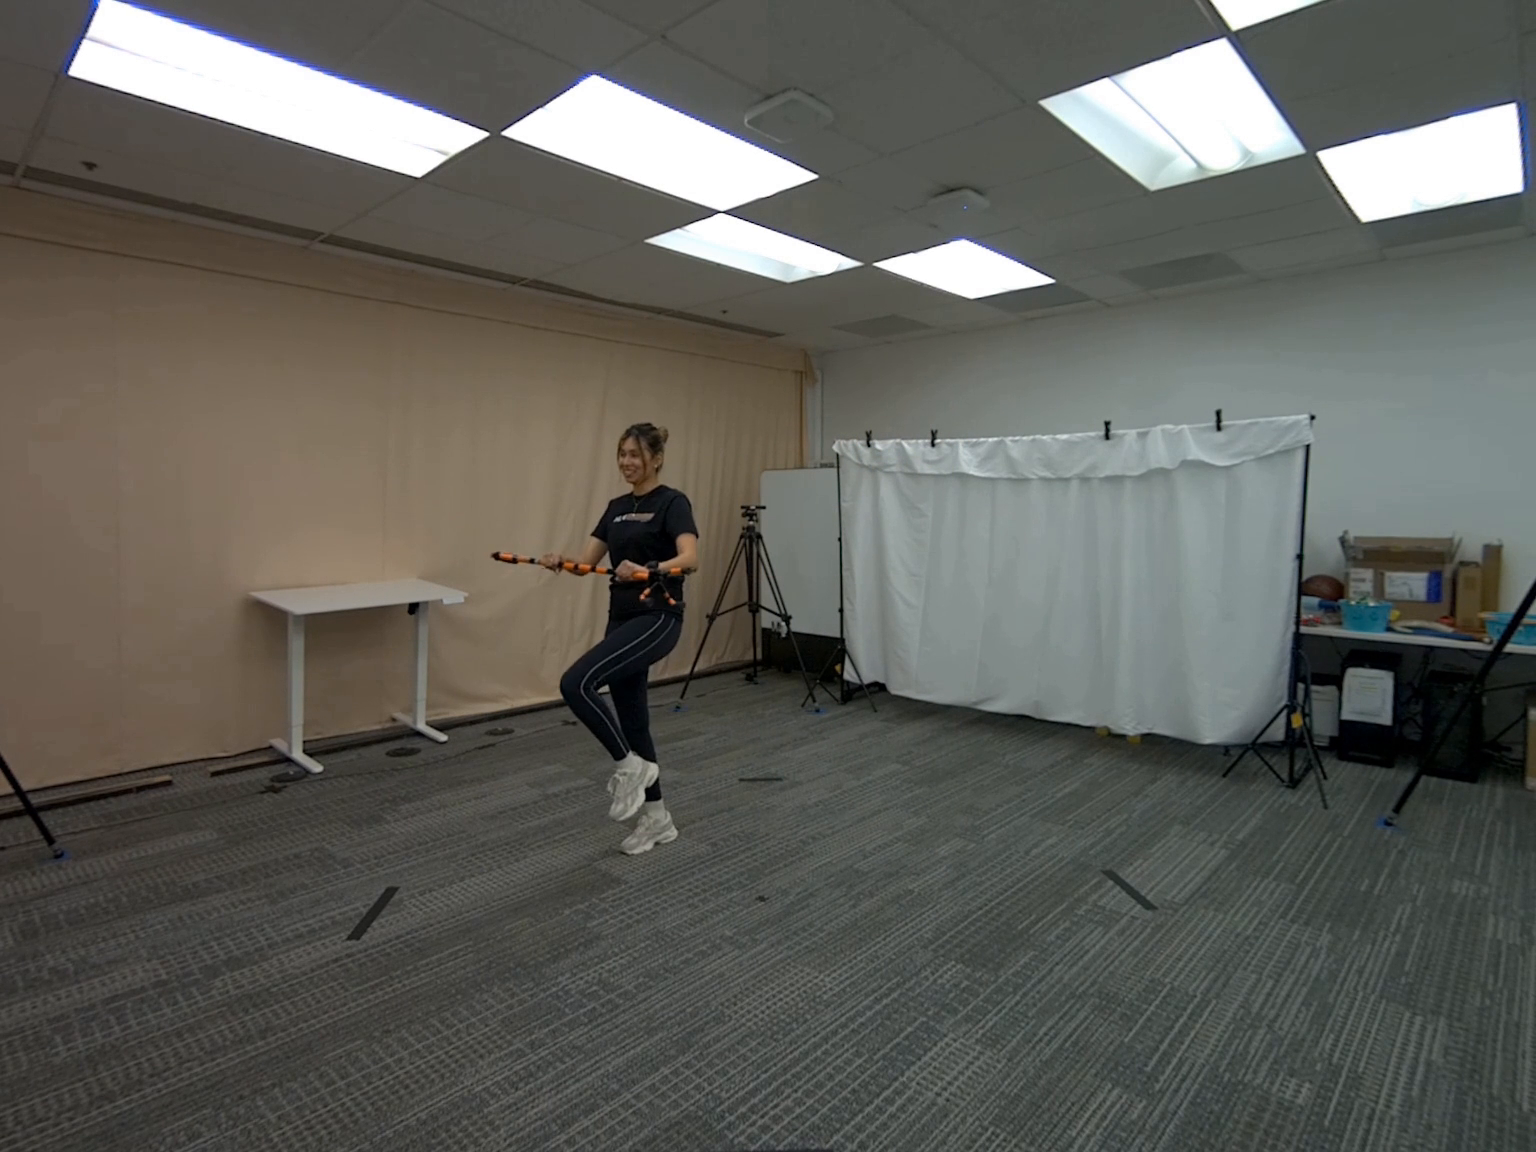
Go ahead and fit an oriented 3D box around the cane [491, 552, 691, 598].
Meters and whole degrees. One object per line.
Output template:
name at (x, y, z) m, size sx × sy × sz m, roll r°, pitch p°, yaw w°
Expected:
cane at (-0.716, -0.014, 3.125) m, size 0.938 × 0.152 × 0.199 m, roll 8°, pitch -3°, yaw 36°
